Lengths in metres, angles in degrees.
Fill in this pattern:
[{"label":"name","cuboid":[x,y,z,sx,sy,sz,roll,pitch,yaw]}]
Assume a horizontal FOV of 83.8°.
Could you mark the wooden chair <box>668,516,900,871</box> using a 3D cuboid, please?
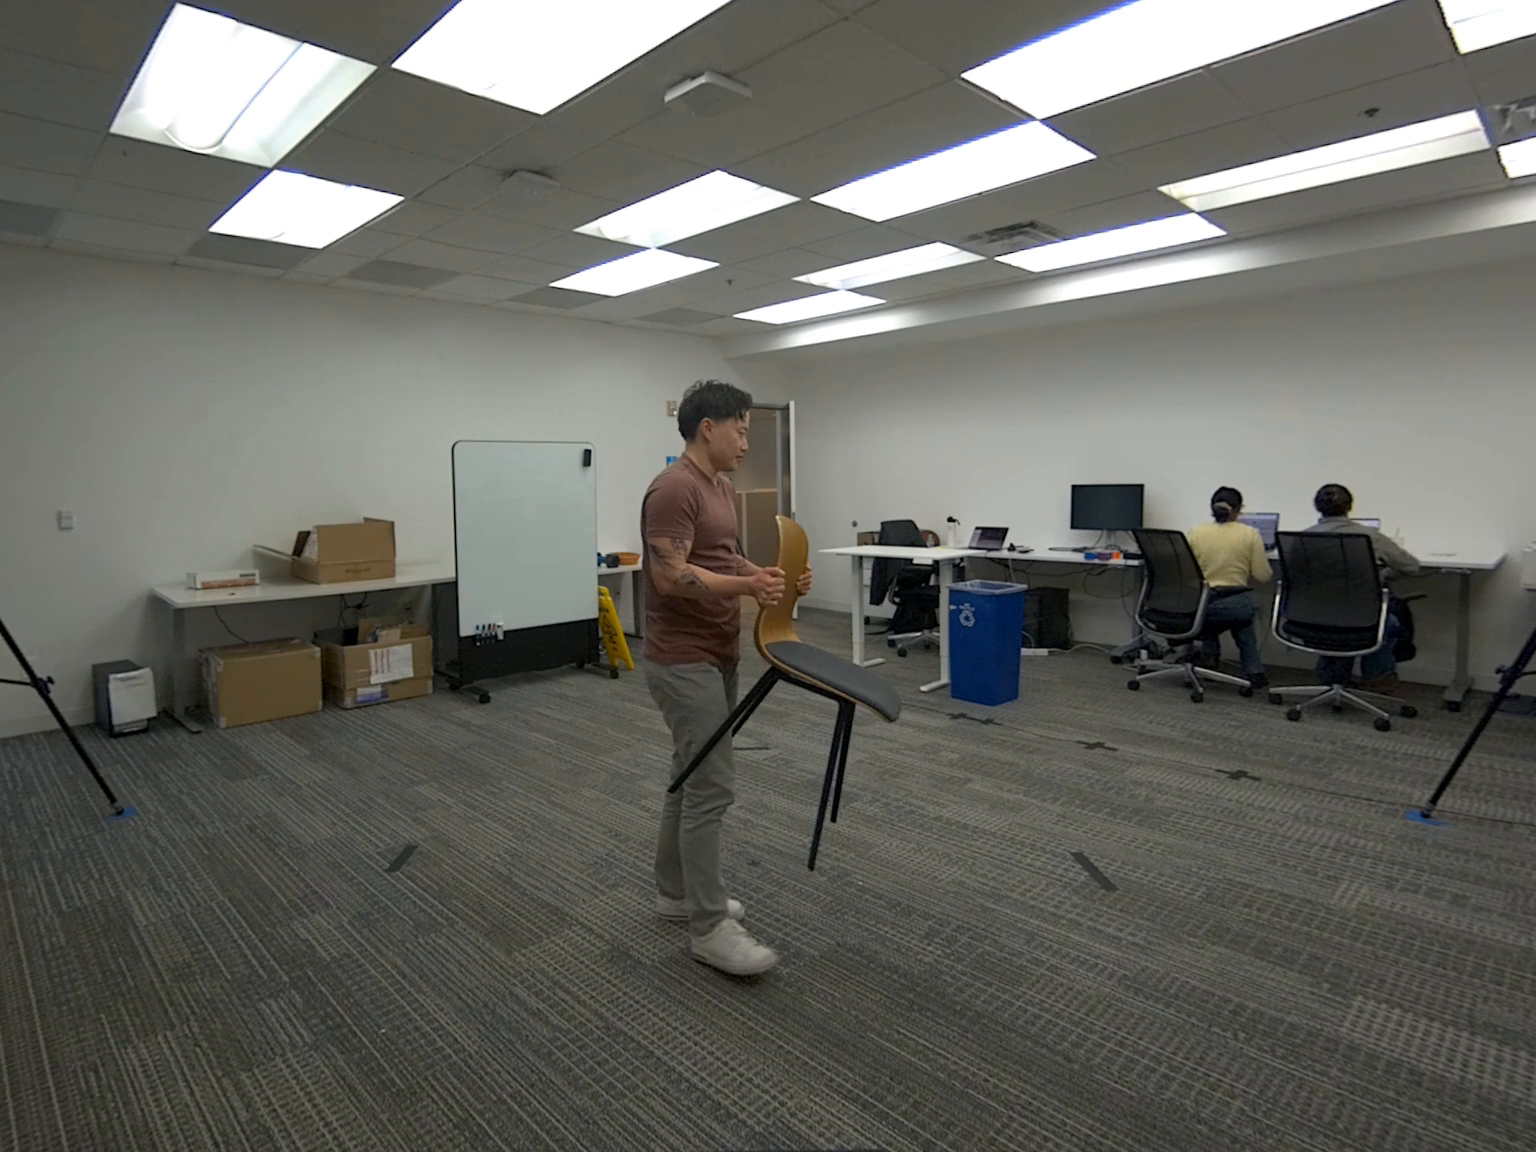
[{"label":"wooden chair","cuboid":[0.139,0.322,2.544,0.533,0.877,0.469,19,1,15]}]
